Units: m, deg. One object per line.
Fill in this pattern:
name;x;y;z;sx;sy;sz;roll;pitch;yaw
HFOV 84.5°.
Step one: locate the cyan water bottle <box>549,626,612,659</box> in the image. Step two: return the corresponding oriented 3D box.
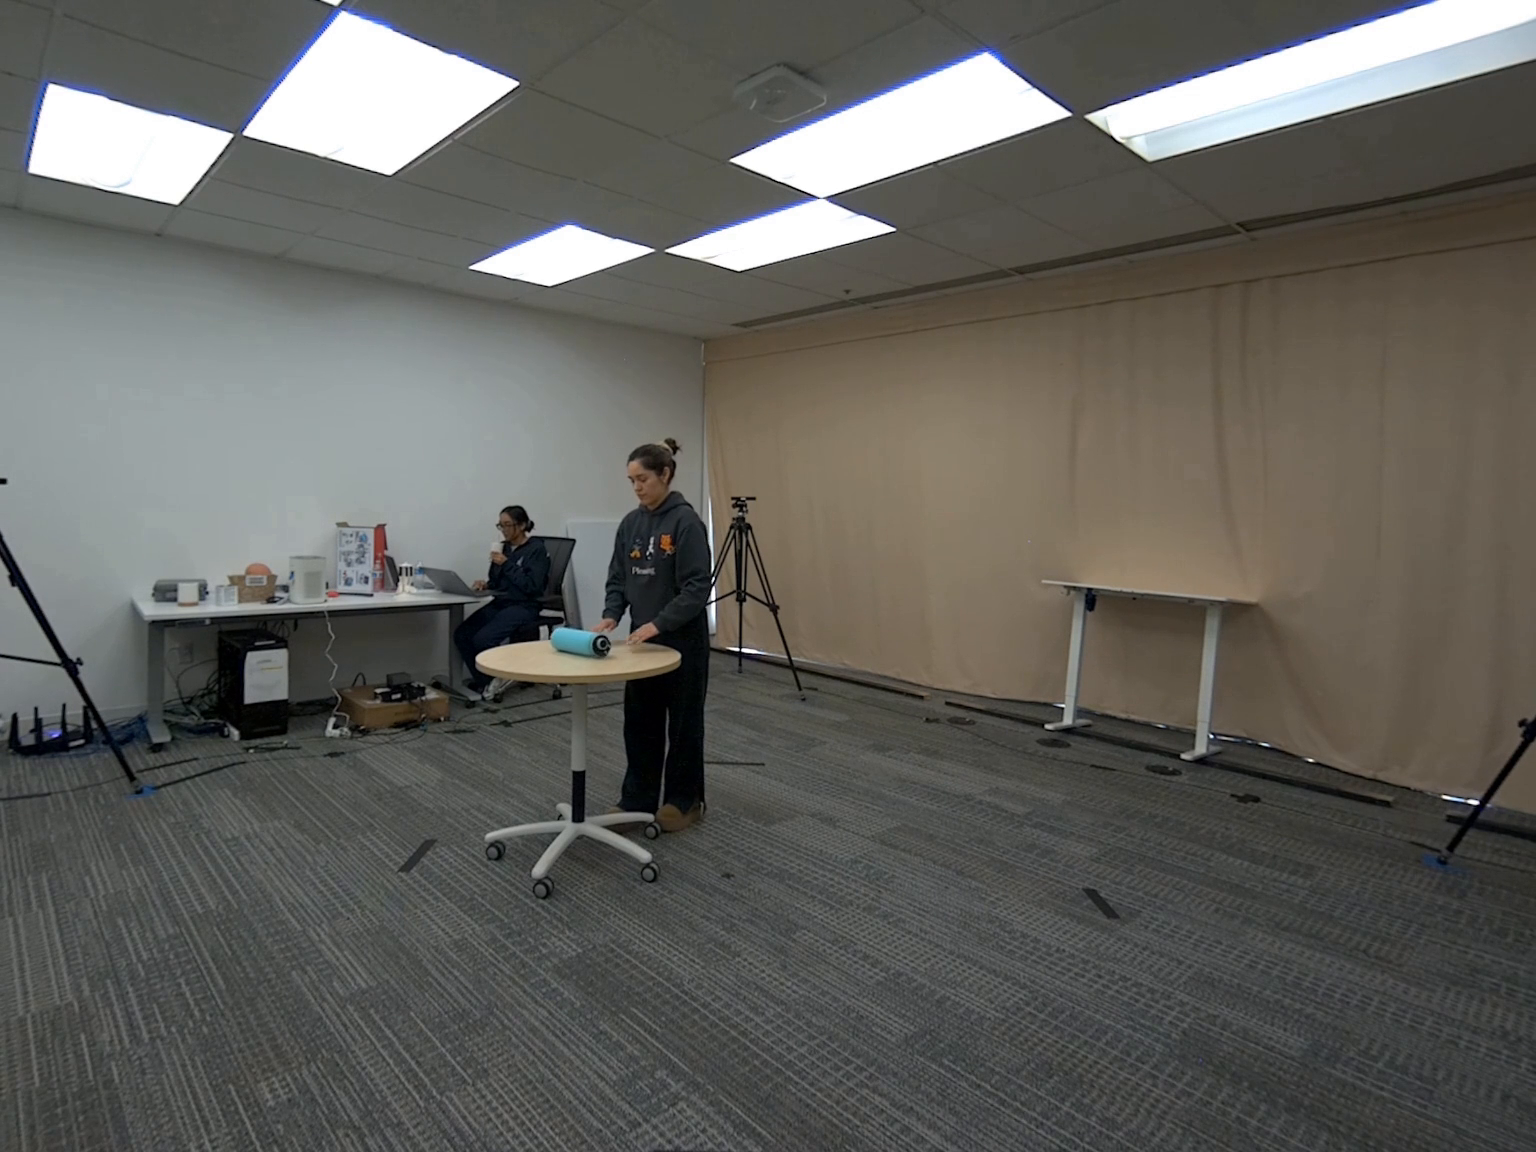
cyan water bottle;-0.721;0.254;3.215;0.290;0.092;0.090;5;6;41
